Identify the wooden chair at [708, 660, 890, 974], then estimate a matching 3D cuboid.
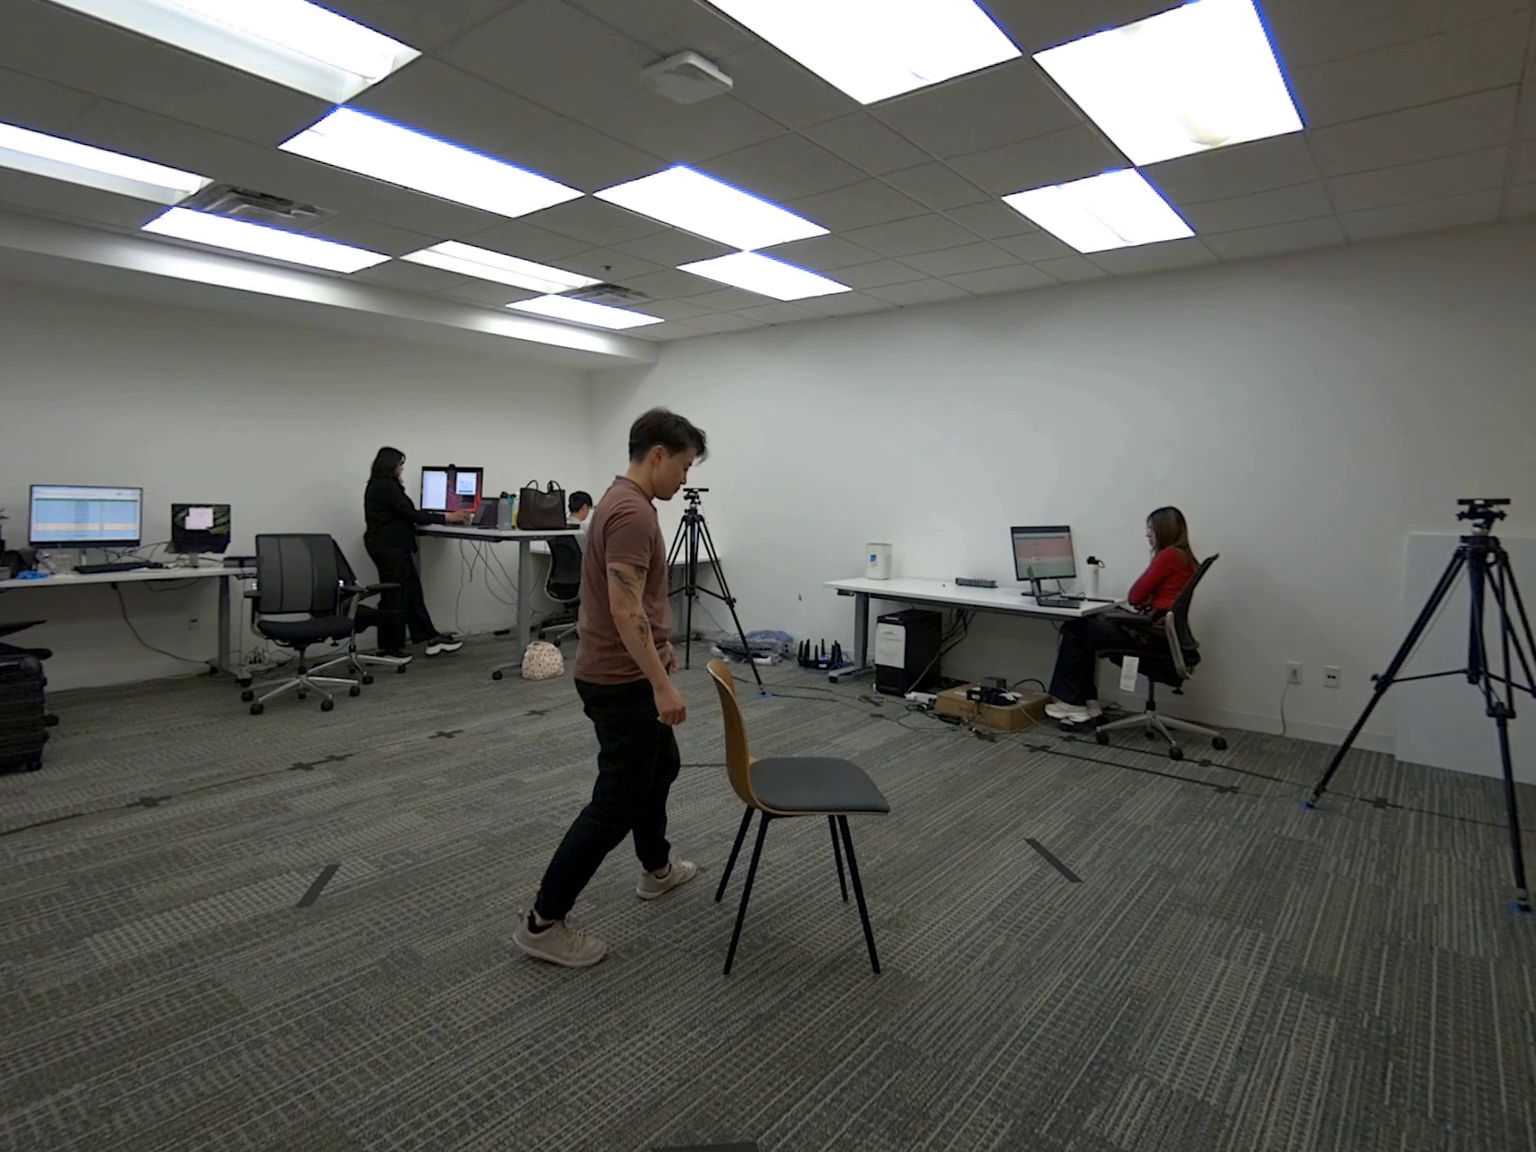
[{"bbox_3d":[0.088,0.697,2.640,0.521,0.875,0.481,-3,3,-4],"label":"wooden chair"}]
